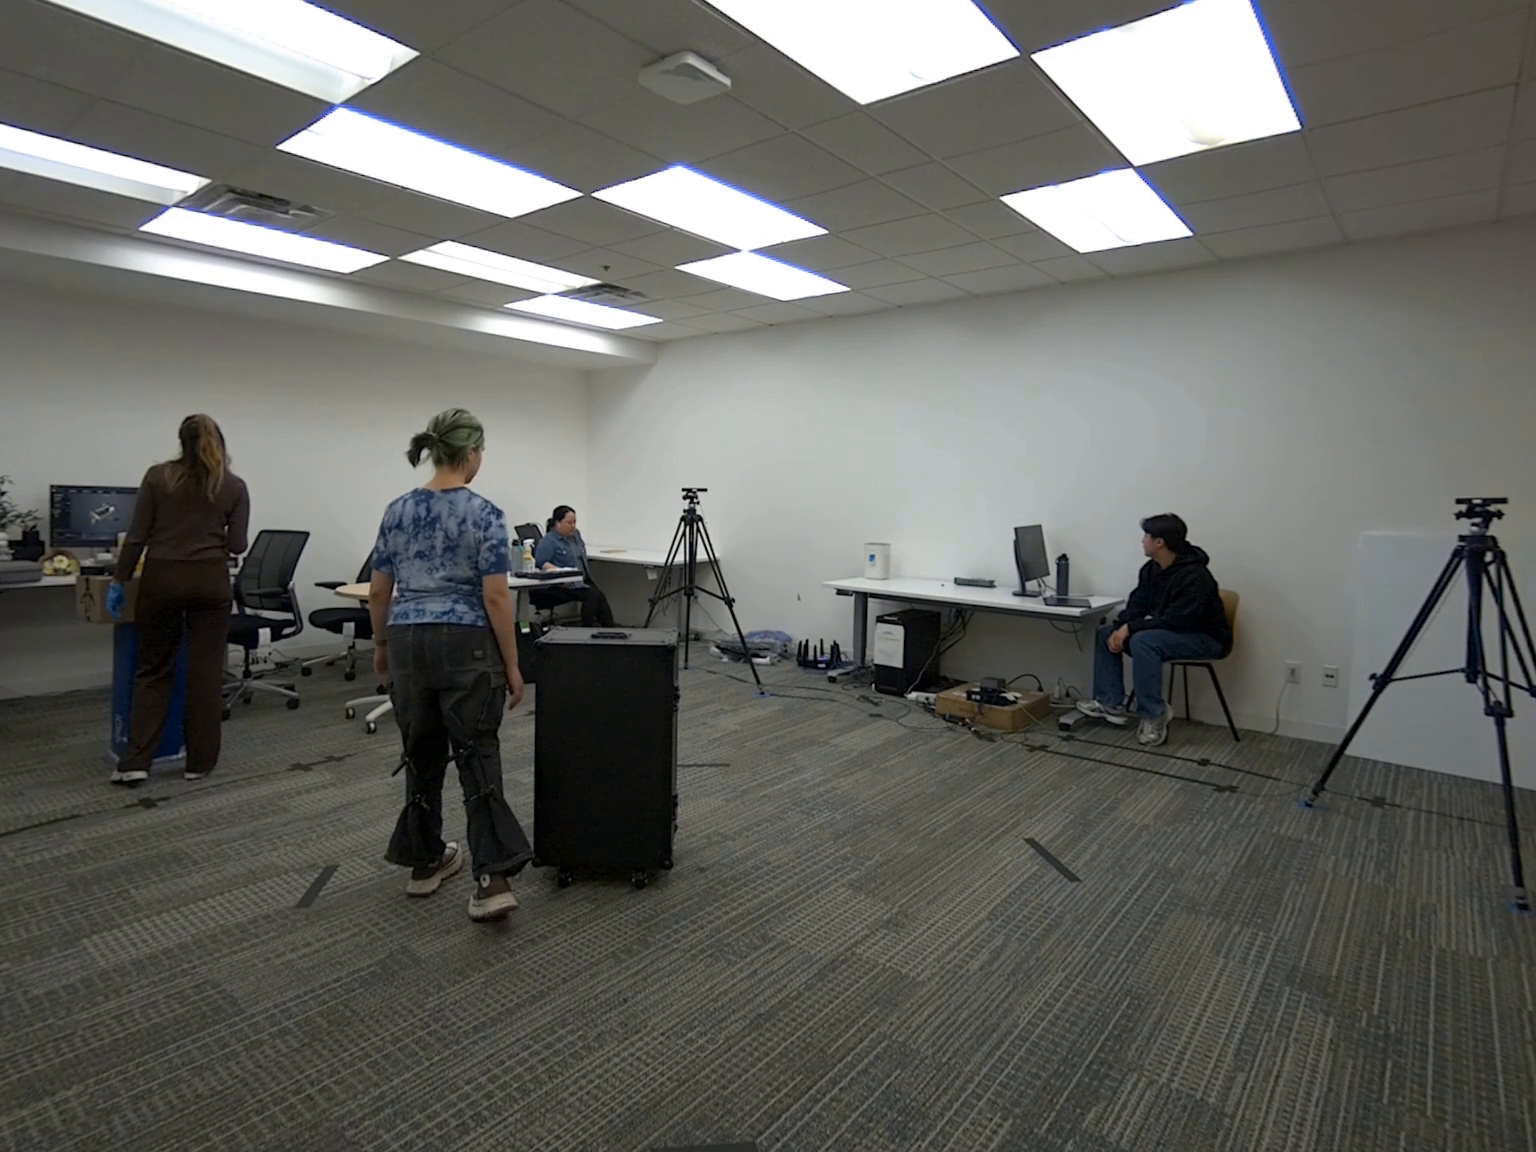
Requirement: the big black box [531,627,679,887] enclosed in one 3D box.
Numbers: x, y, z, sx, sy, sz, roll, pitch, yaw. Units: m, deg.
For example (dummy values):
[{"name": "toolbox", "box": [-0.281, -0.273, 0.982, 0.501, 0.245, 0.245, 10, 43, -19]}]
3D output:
[{"name": "big black box", "box": [-0.593, 0.640, 3.118, 0.522, 0.861, 0.396, 1, 1, 0]}]
